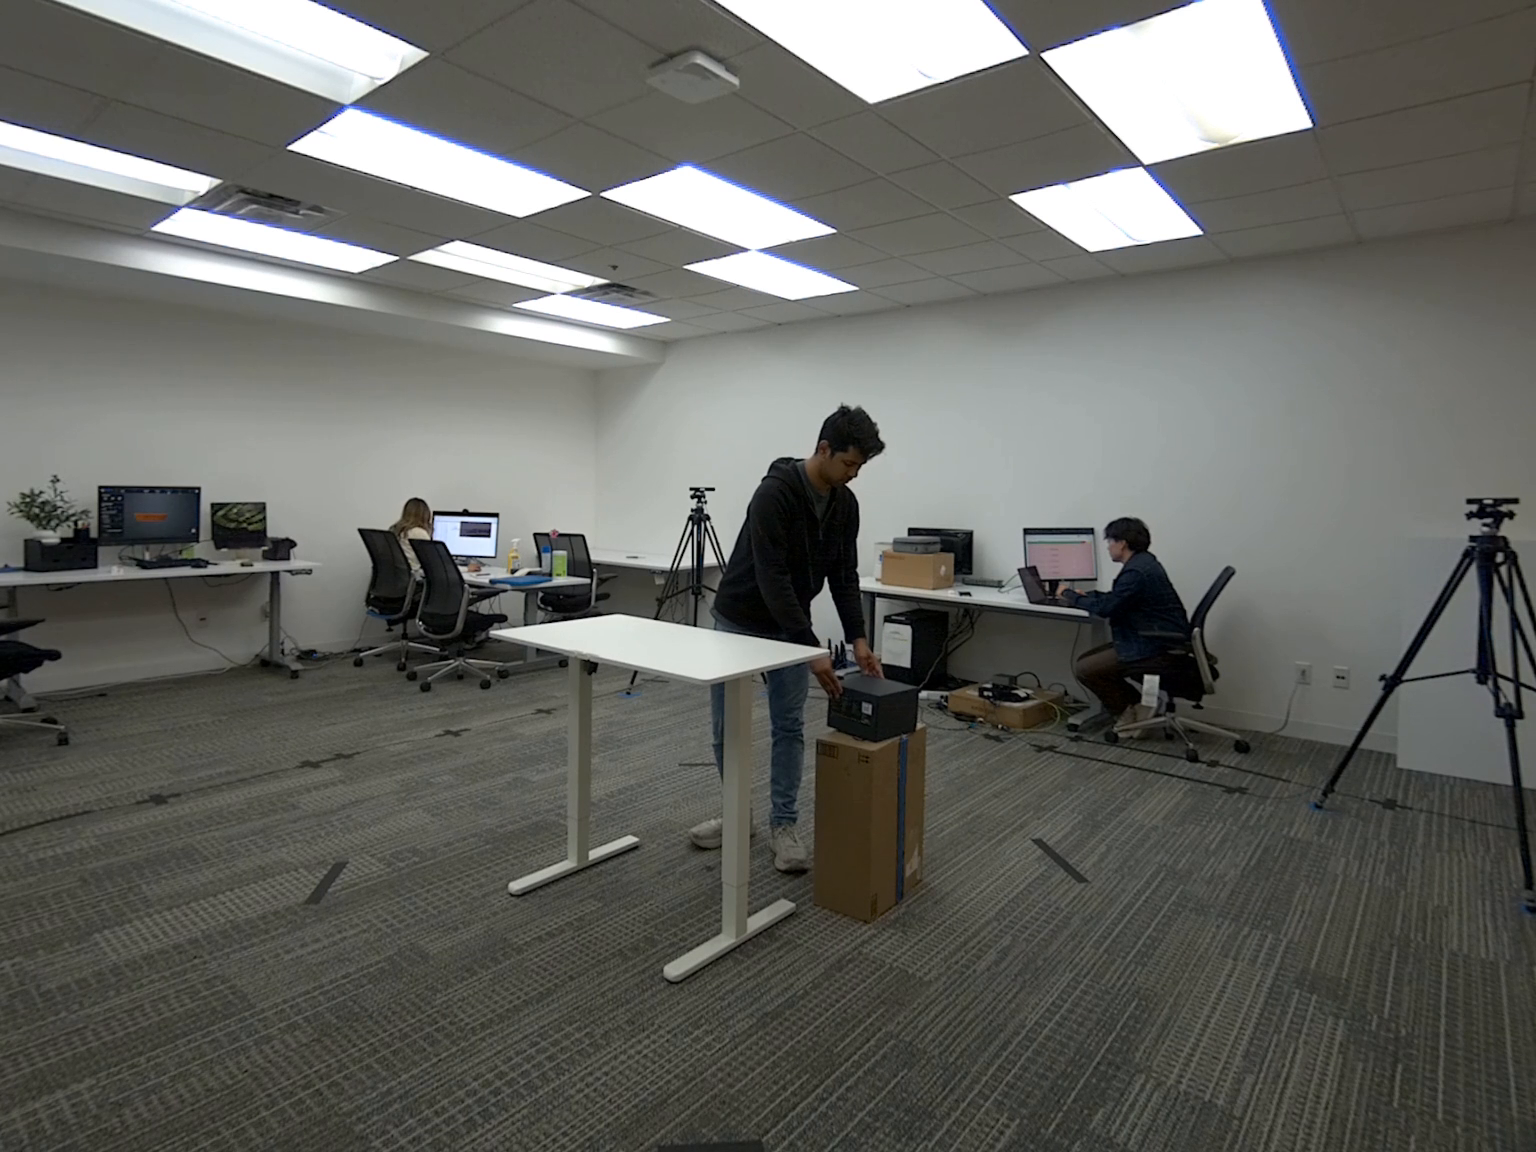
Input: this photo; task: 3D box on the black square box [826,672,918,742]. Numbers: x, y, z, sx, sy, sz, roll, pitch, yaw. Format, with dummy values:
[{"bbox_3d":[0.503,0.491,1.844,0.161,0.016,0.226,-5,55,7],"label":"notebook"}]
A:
[{"bbox_3d":[0.356,0.444,2.930,0.221,0.155,0.224,-4,8,-44],"label":"black square box"}]
